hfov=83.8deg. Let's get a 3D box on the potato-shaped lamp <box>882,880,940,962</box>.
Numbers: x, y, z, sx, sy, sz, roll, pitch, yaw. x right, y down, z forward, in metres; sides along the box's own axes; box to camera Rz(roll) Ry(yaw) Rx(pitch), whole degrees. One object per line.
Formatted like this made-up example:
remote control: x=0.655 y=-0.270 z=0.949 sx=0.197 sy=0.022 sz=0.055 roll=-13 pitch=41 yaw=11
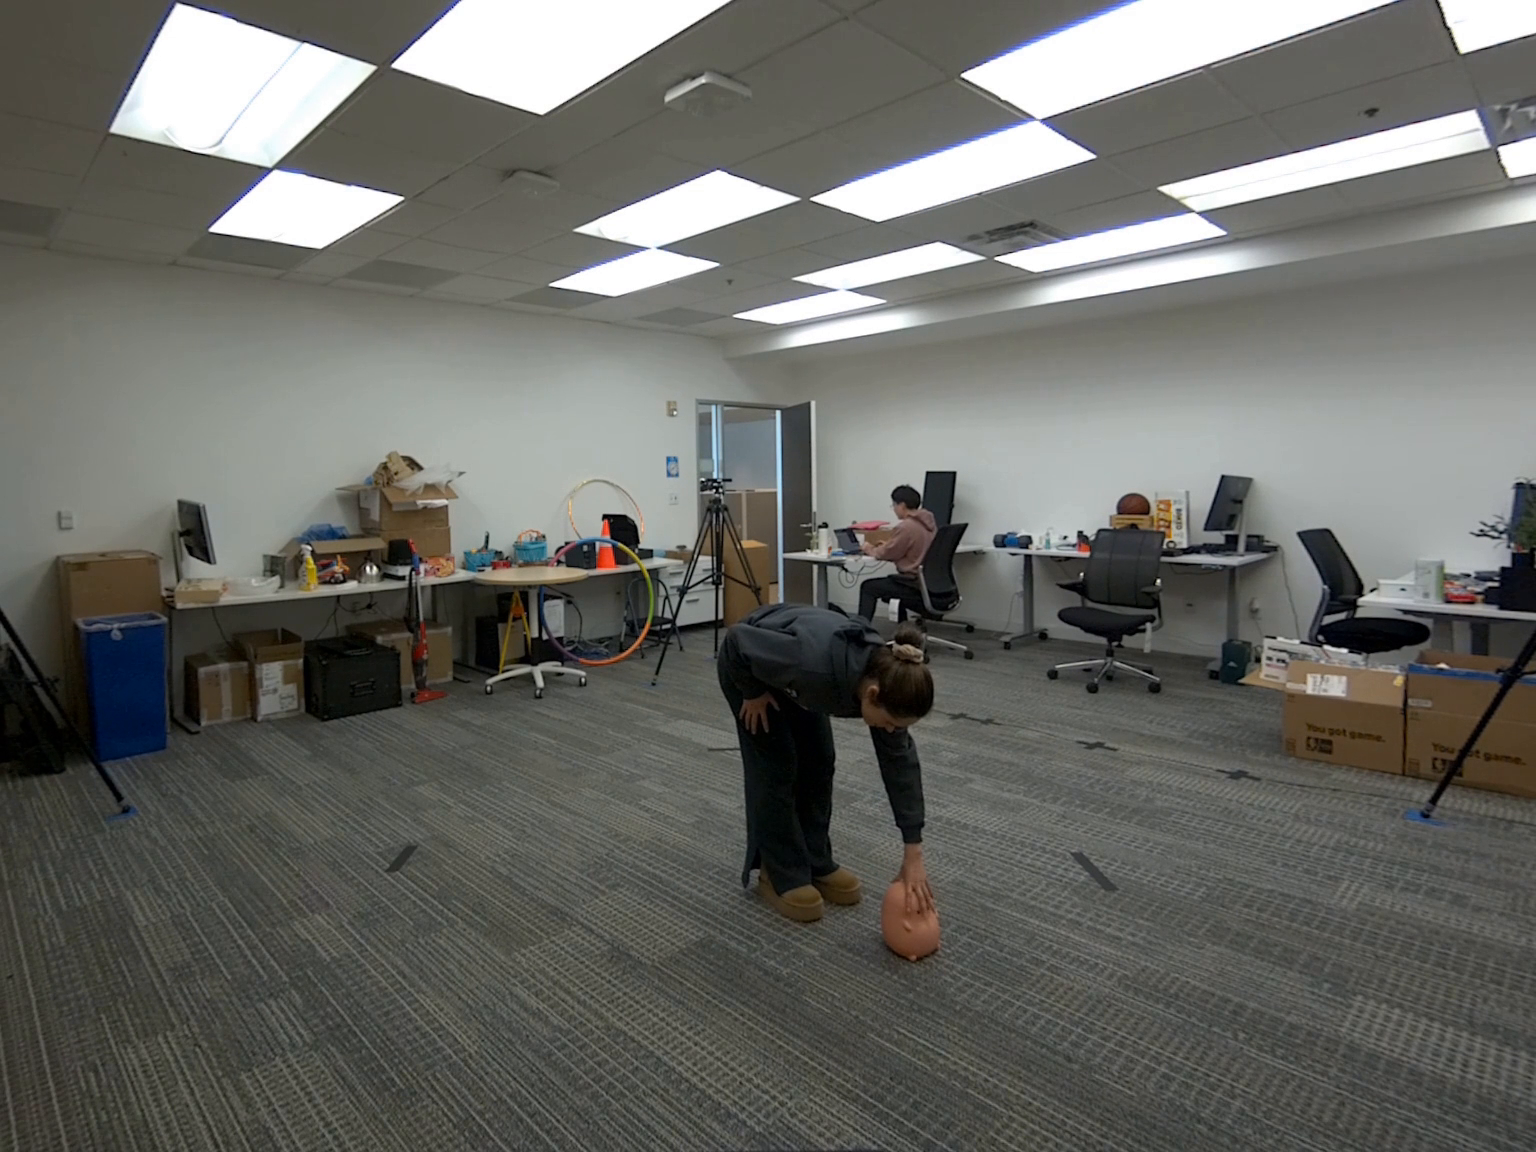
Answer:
potato-shaped lamp: x=0.426 y=1.008 z=2.515 sx=0.161 sy=0.198 sz=0.175 roll=-4 pitch=1 yaw=-25
